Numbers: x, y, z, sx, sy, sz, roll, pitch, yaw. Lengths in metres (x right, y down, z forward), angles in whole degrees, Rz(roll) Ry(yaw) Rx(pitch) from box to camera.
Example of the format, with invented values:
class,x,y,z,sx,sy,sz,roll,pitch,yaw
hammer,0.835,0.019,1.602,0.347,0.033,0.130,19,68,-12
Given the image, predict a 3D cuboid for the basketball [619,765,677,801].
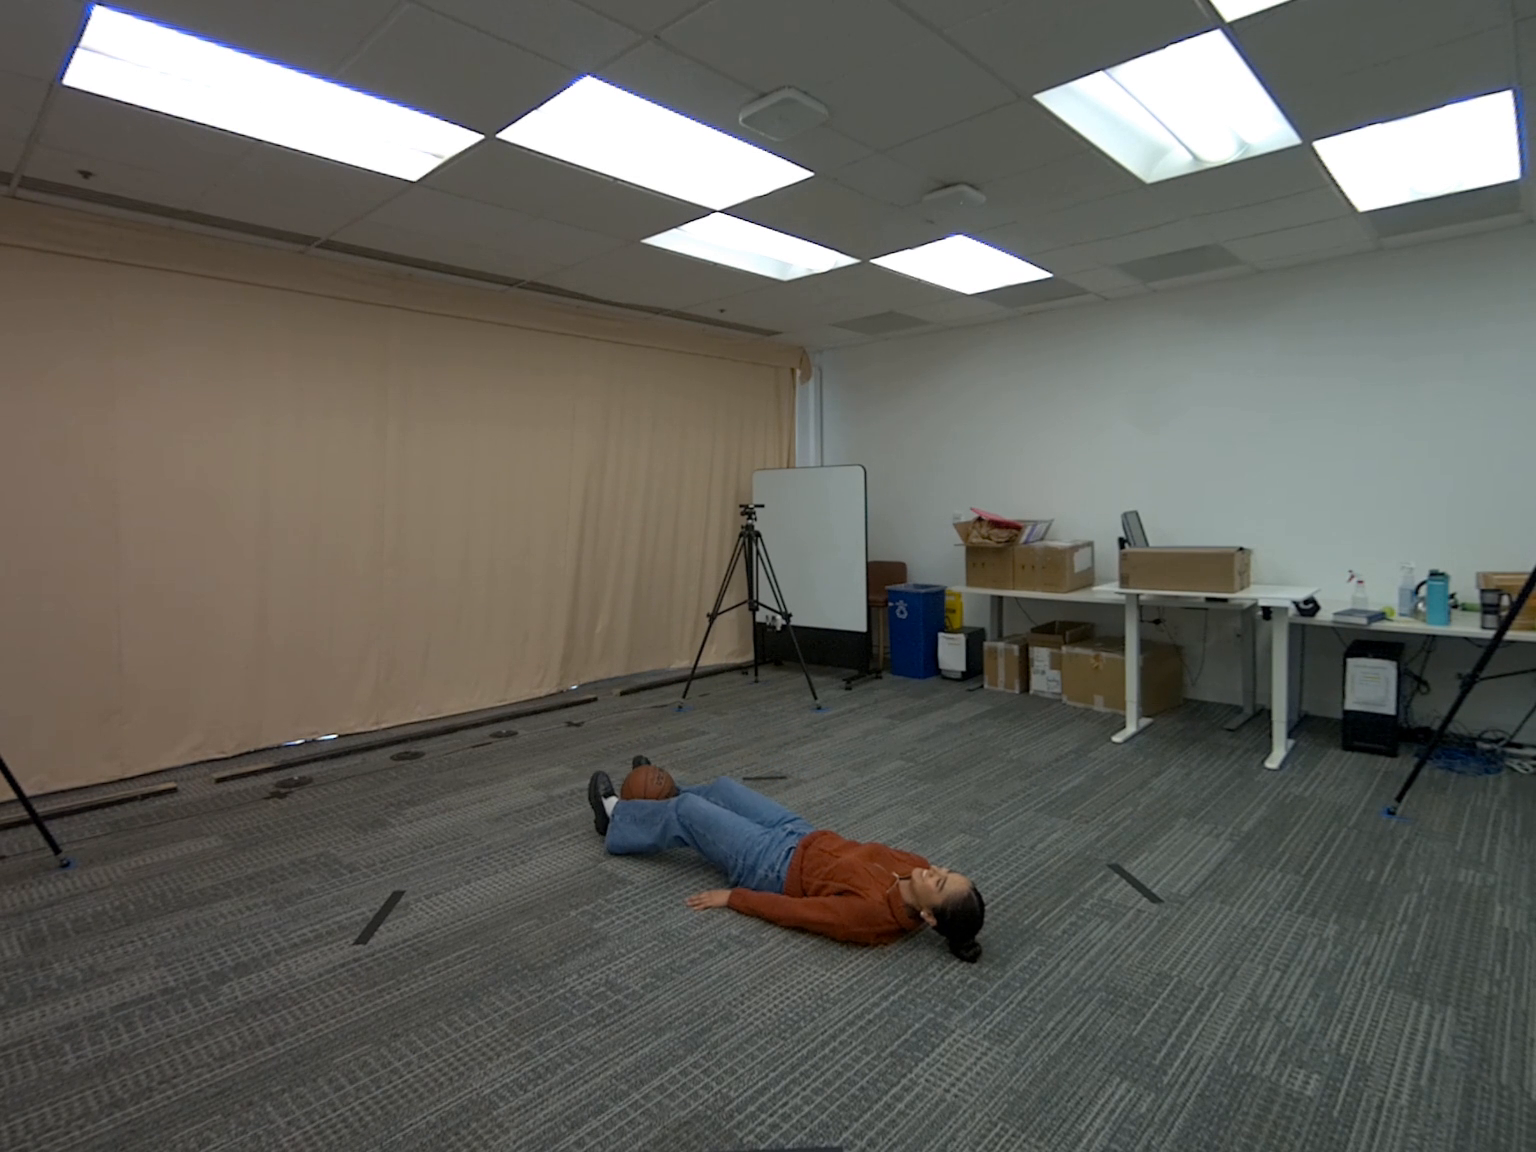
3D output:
class,x,y,z,sx,sy,sz,roll,pitch,yaw
basketball,-0.500,0.906,3.549,0.236,0.235,0.237,-1,4,-2
